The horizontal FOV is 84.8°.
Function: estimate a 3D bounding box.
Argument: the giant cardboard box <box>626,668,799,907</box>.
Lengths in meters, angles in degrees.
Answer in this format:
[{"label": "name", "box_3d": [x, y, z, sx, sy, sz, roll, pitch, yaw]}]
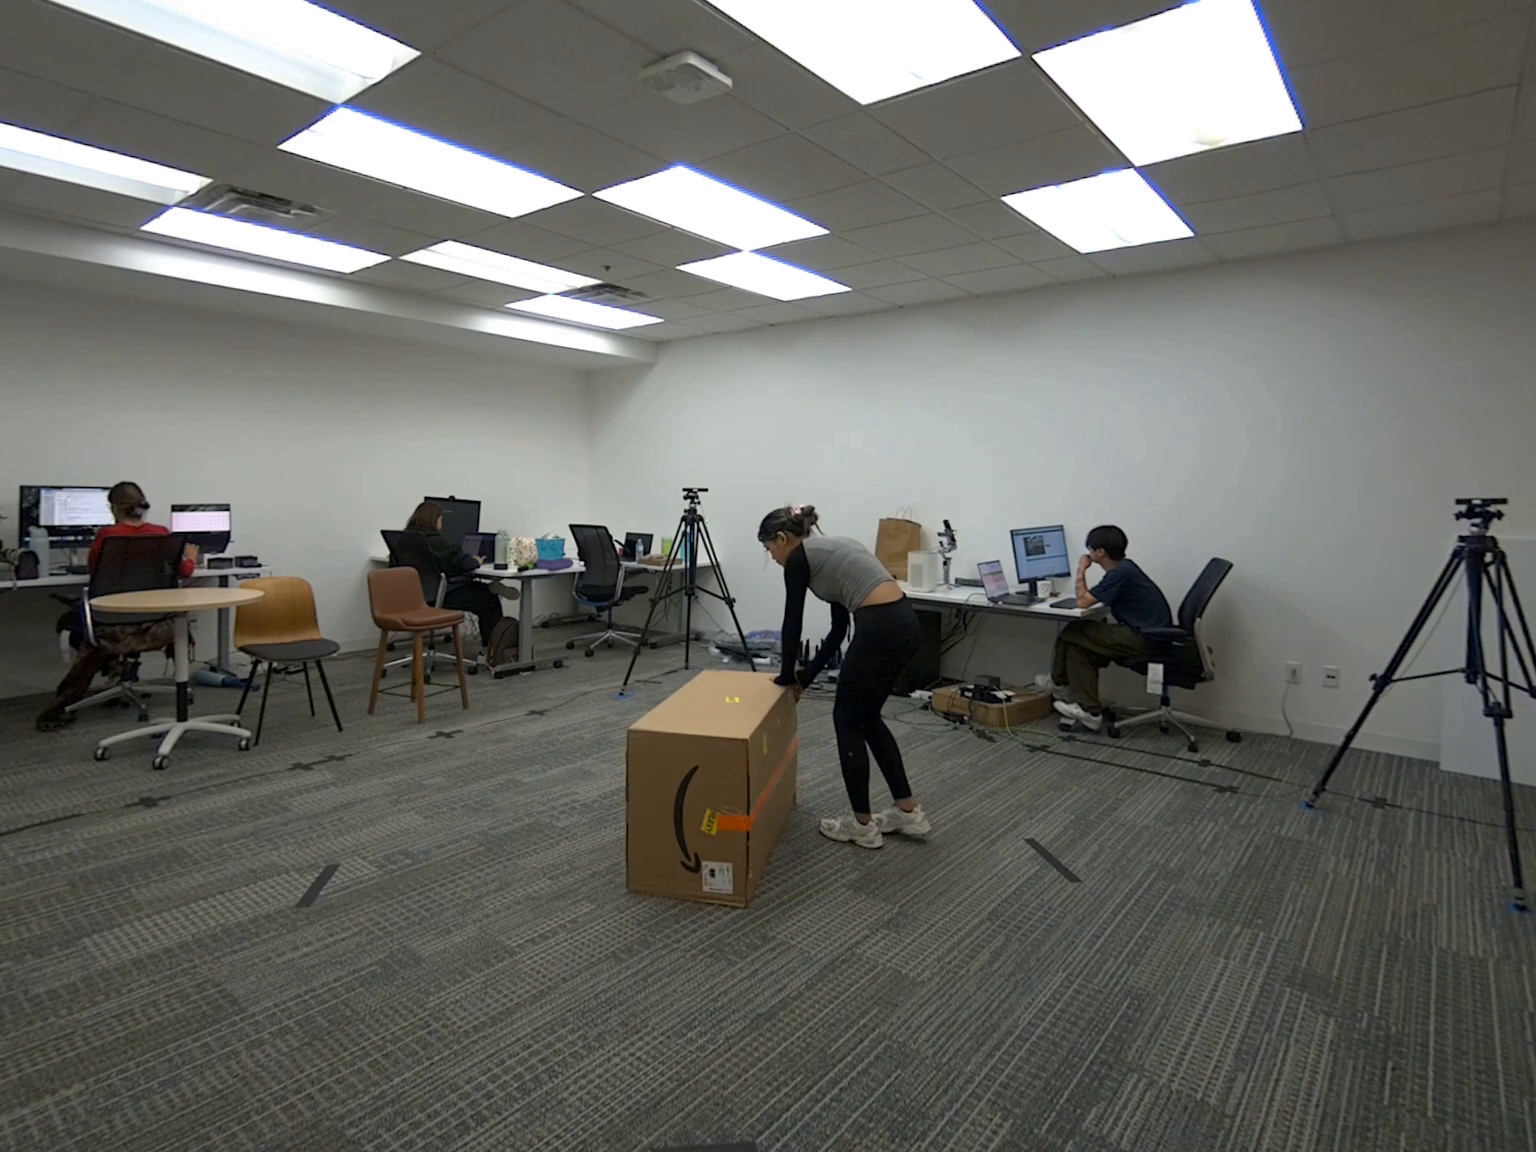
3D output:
[{"label": "giant cardboard box", "box_3d": [-0.189, 0.758, 3.334, 0.453, 0.581, 1.017, 2, 5, 11]}]
